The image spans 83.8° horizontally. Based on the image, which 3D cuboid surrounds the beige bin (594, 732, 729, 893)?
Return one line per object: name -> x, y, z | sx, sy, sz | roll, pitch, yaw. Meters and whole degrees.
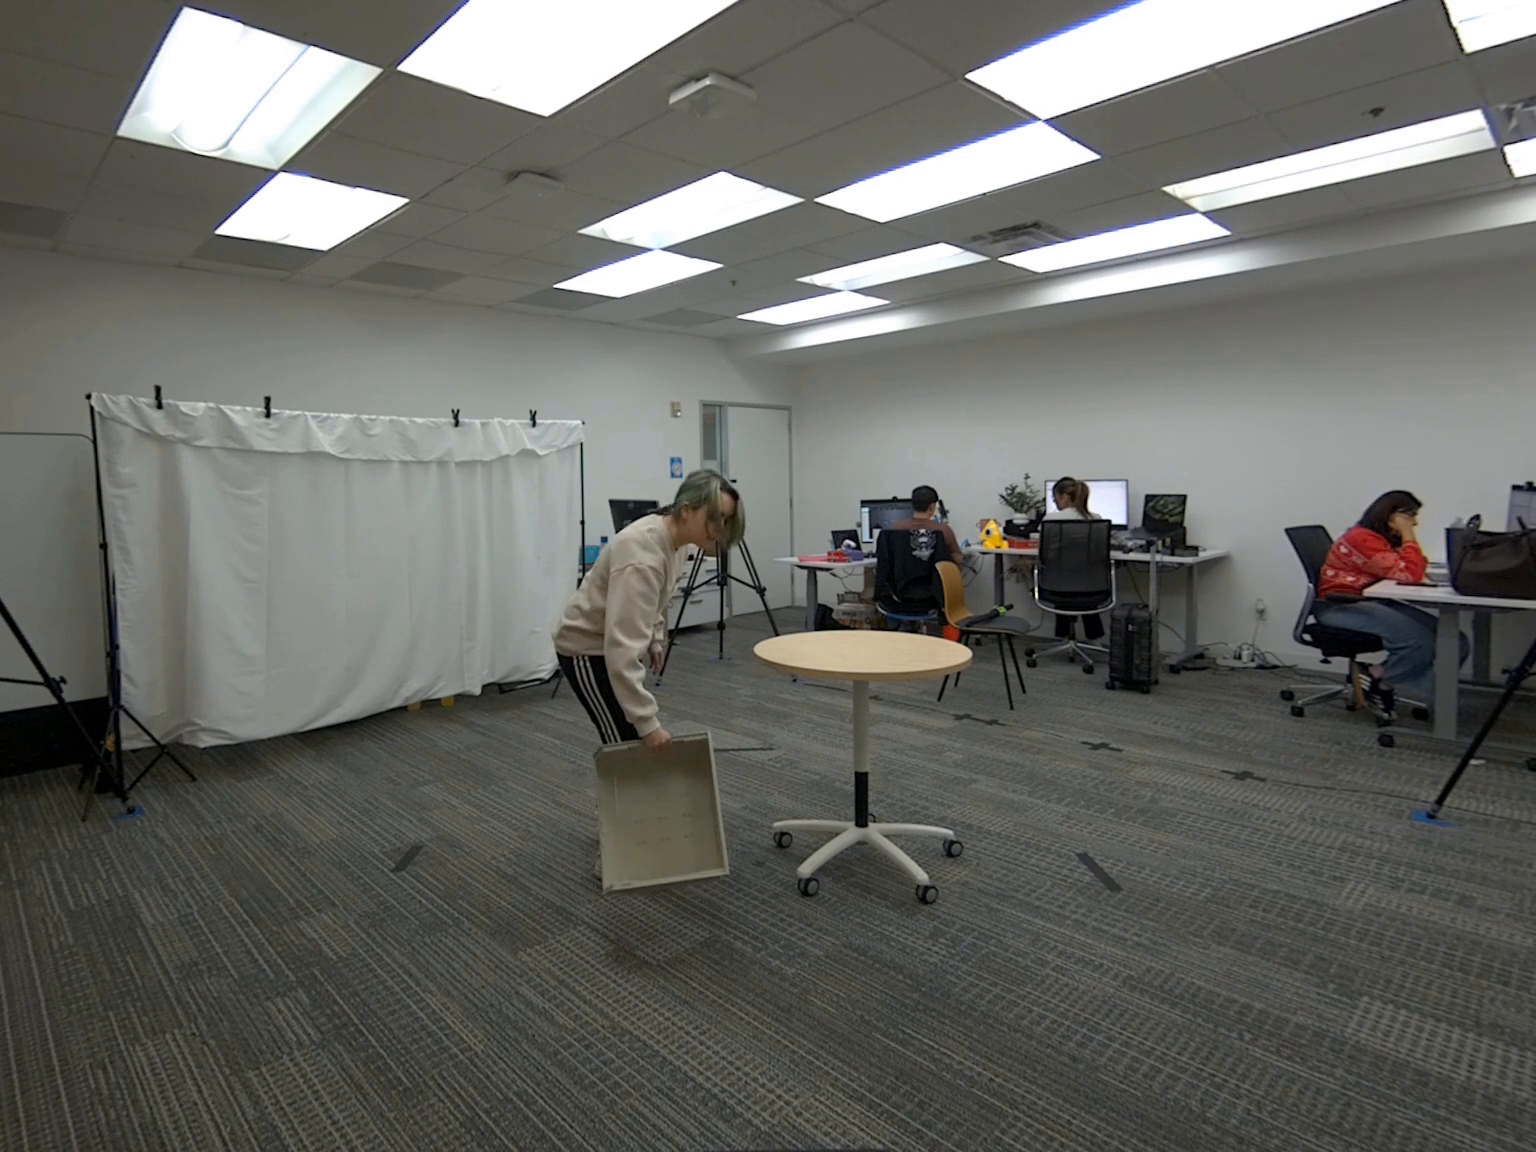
beige bin -> -0.333, 0.728, 2.625 | 0.376, 0.433, 0.185 | -6, -27, -5
